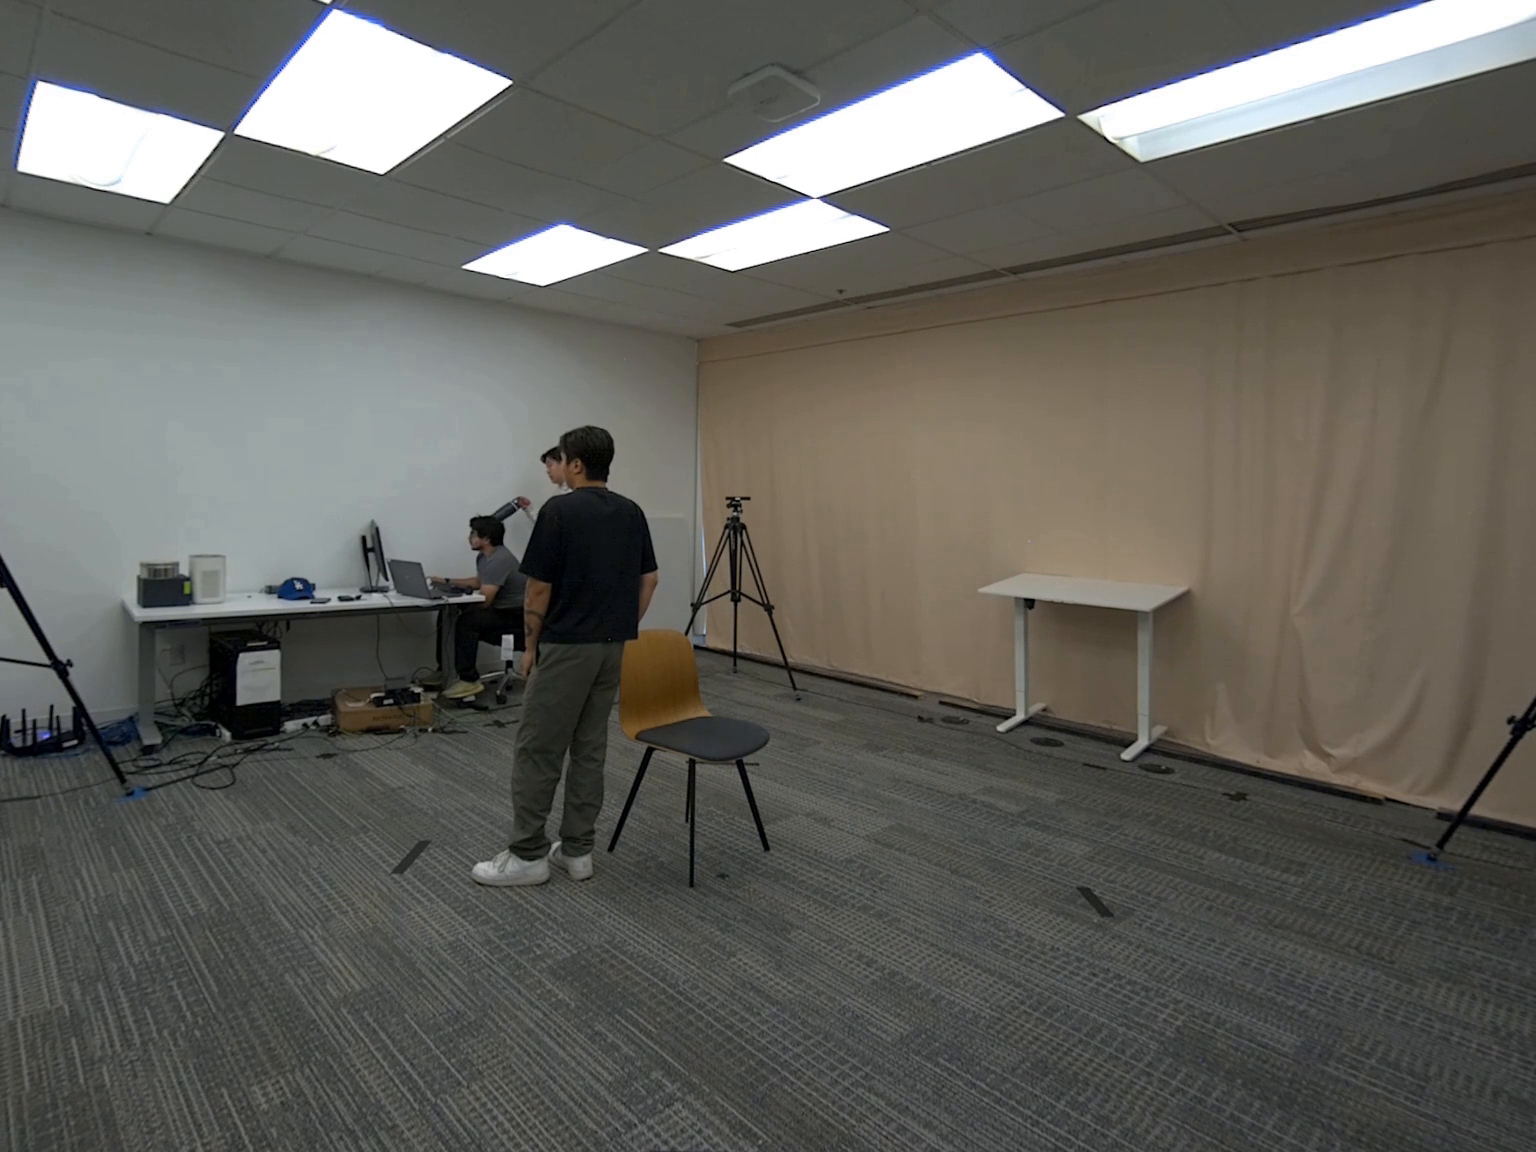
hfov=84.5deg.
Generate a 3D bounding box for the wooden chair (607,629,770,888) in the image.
[{"bbox_3d":[-0.295,0.661,3.284,0.535,0.877,0.467,-1,0,40],"label":"wooden chair"}]
